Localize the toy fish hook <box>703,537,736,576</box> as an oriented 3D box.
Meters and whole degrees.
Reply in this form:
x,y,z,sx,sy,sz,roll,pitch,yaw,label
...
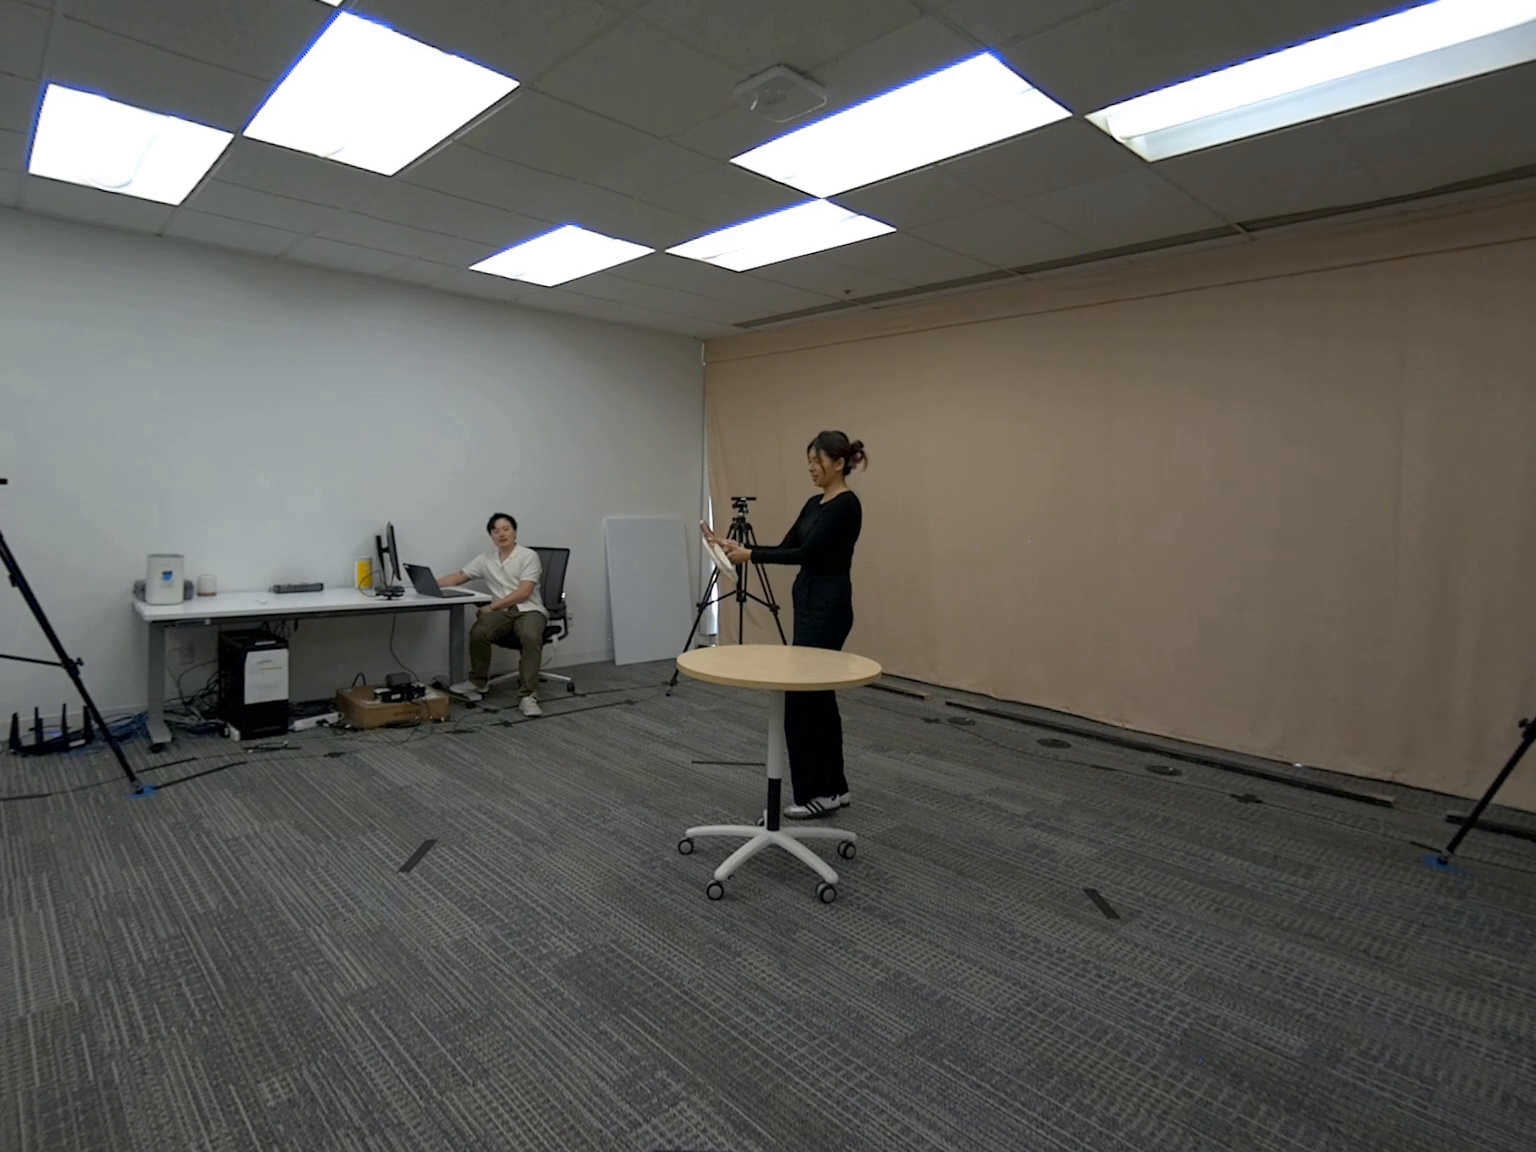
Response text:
x,y,z,sx,sy,sz,roll,pitch,yaw,label
-0.264,-0.149,3.743,0.048,0.218,0.521,-30,37,1,toy fish hook
